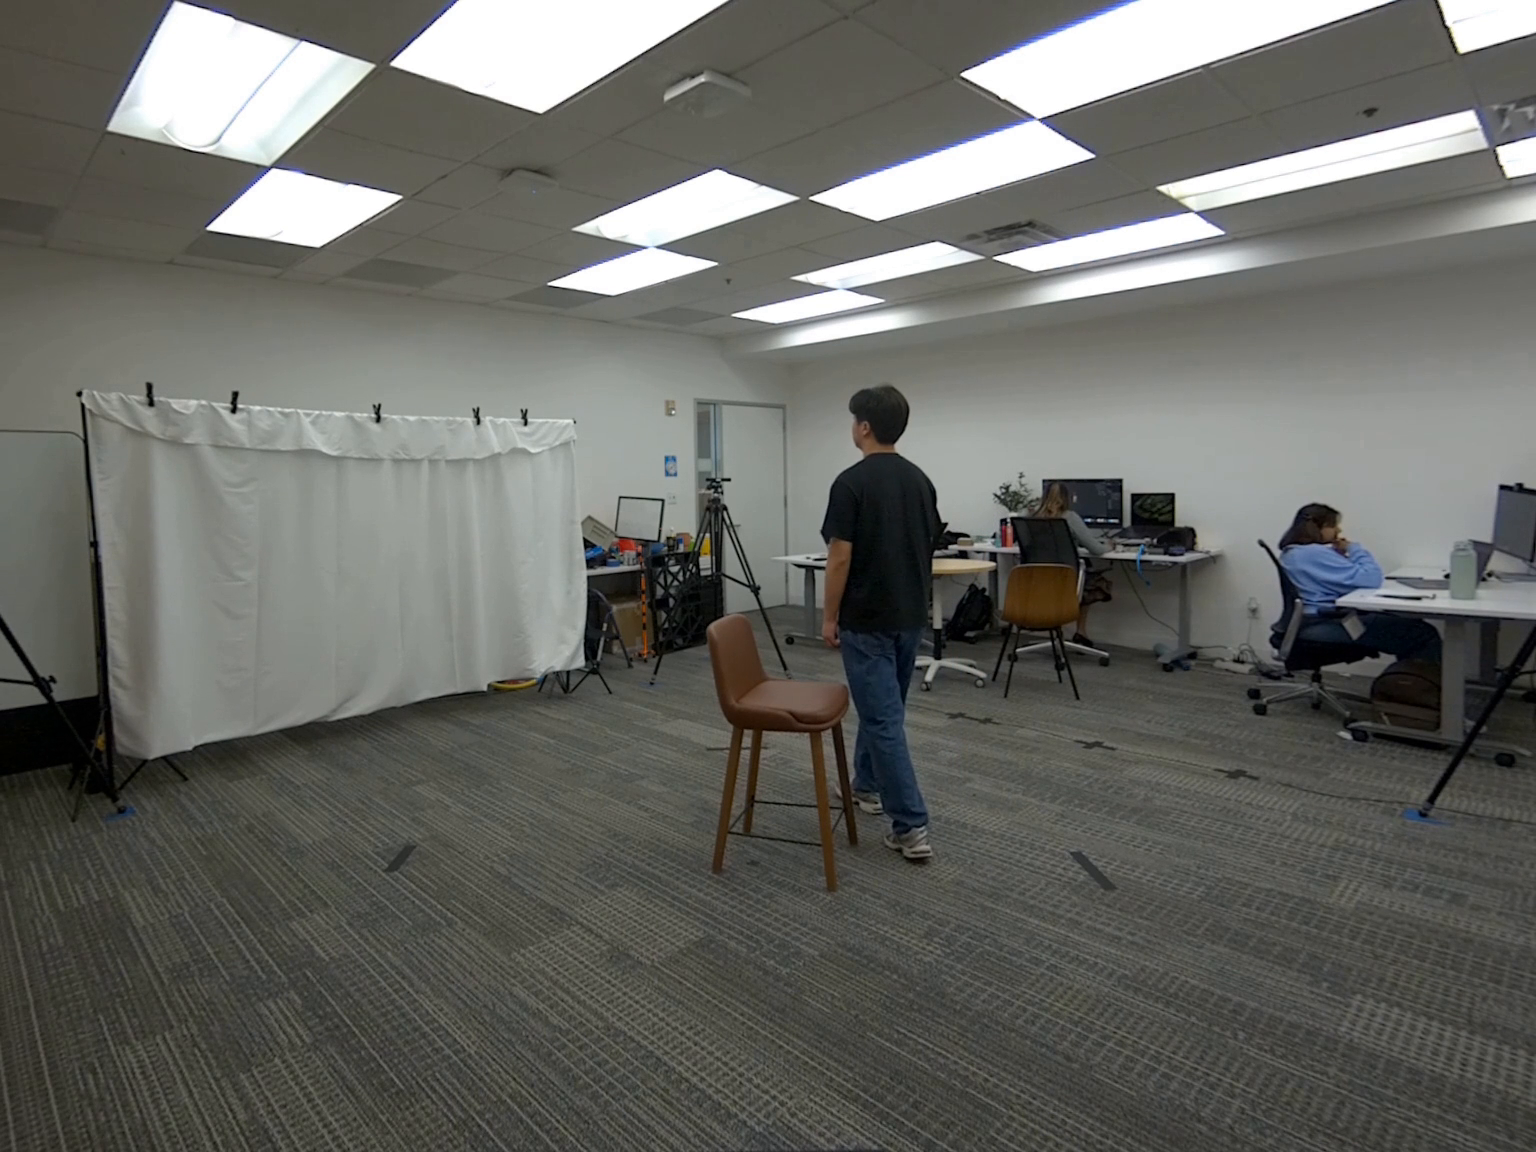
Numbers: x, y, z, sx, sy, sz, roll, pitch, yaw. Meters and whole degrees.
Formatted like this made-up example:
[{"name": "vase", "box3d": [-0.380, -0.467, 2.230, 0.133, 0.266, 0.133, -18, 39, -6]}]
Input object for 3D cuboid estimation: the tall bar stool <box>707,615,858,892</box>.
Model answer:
[{"name": "tall bar stool", "box3d": [0.058, 0.606, 3.116, 0.476, 0.887, 0.449, -1, 3, 20]}]
